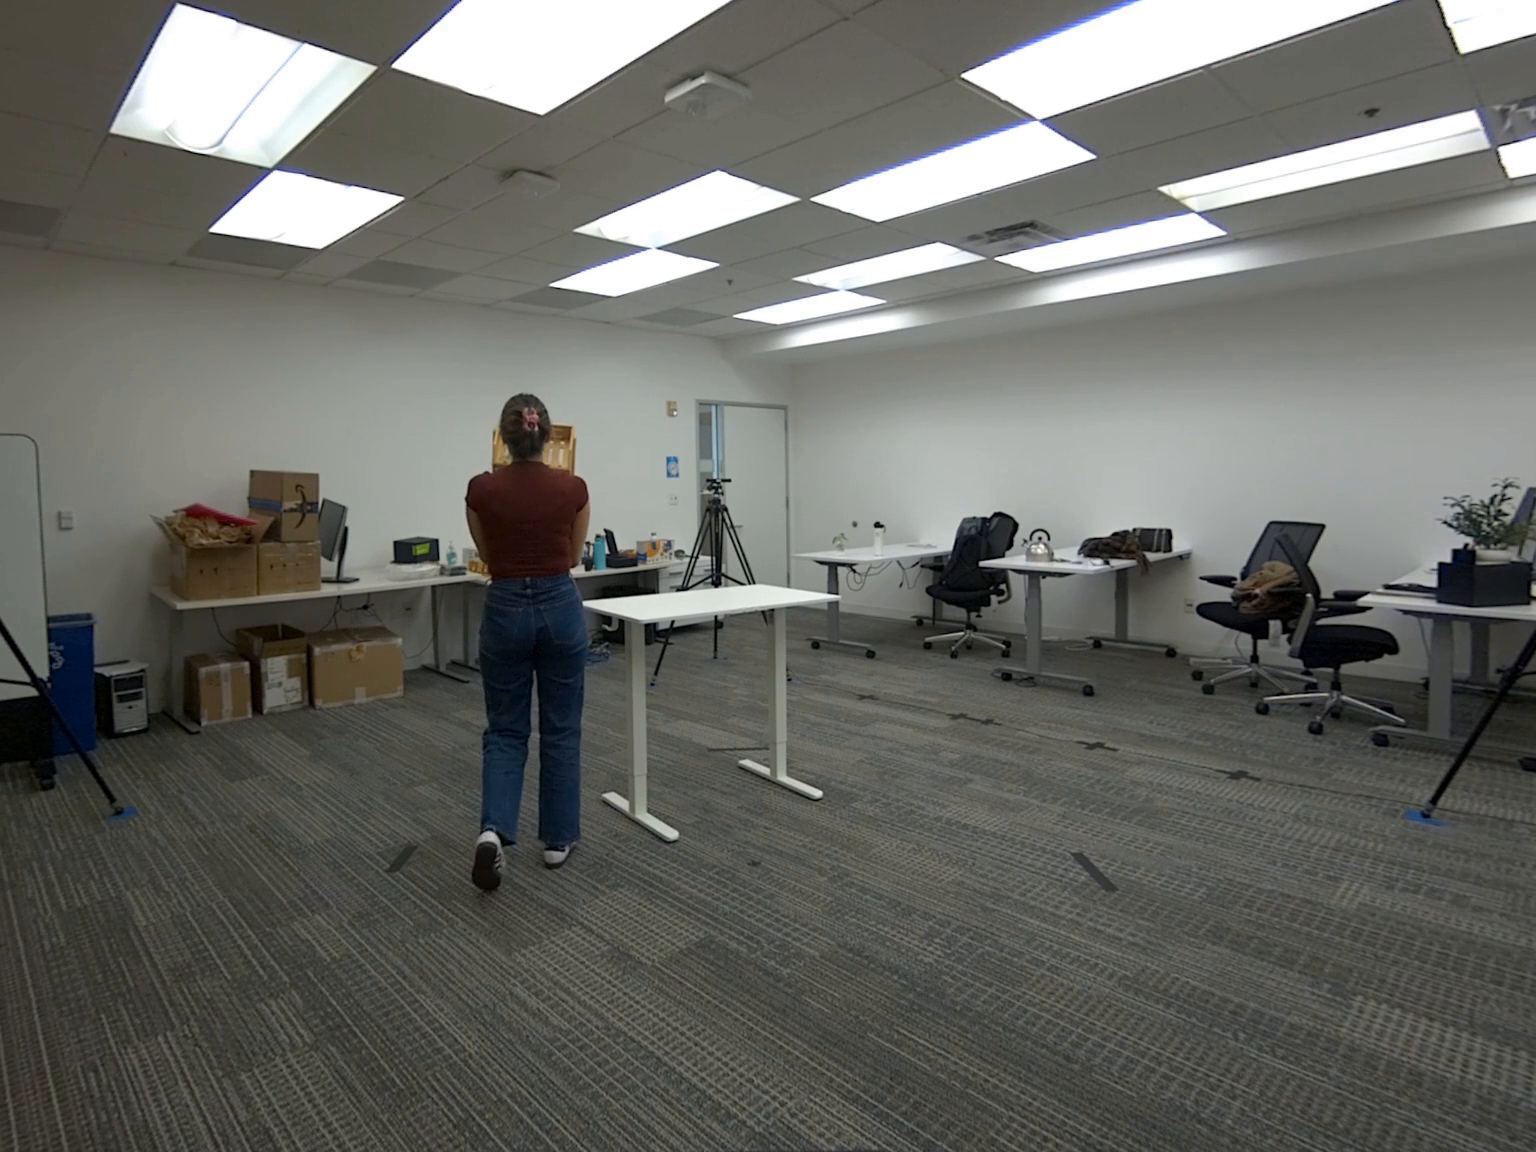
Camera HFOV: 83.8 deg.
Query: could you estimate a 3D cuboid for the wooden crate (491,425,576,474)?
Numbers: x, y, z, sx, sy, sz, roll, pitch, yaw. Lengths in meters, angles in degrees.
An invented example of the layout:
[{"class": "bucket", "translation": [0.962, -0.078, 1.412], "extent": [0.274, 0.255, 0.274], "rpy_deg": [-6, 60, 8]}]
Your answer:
[{"class": "wooden crate", "translation": [-0.940, -0.422, 3.423], "extent": [0.321, 0.311, 0.268], "rpy_deg": [3, -40, -10]}]
